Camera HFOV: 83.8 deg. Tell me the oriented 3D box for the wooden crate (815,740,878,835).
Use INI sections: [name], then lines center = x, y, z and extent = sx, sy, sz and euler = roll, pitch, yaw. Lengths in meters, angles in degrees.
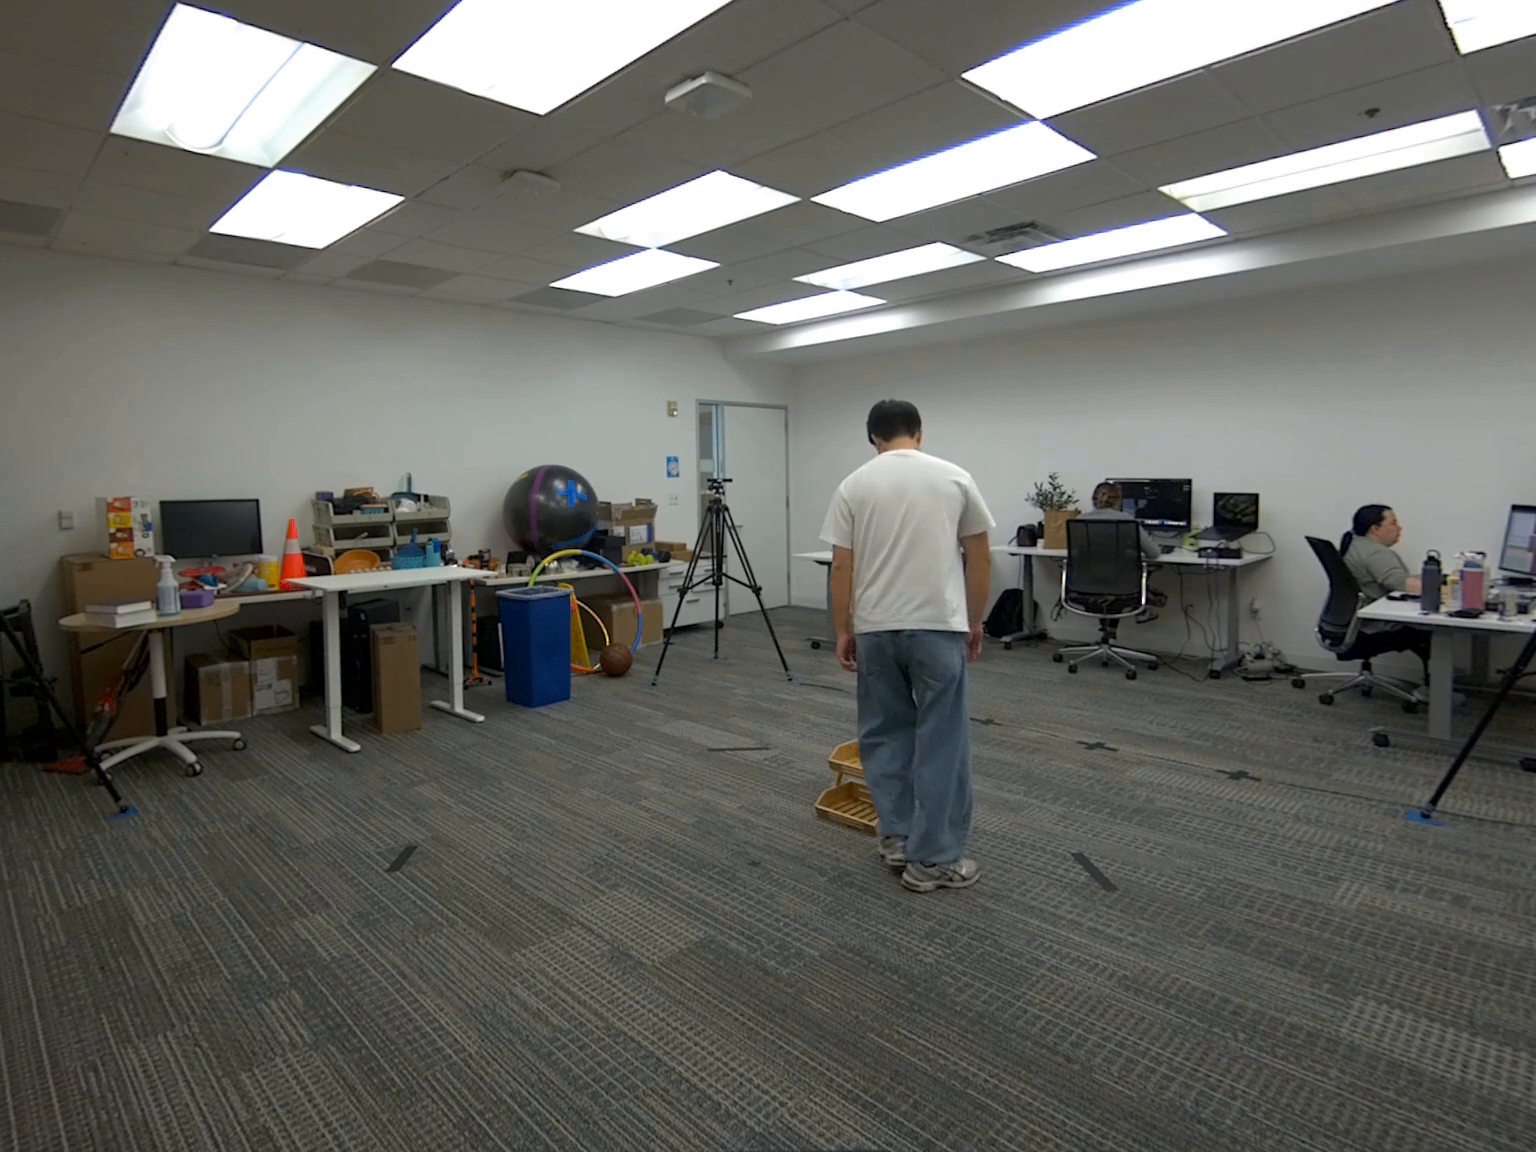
[wooden crate]
center = 0.405, 0.858, 3.513
extent = 0.334, 0.272, 0.294
euler = 4, 6, 43
